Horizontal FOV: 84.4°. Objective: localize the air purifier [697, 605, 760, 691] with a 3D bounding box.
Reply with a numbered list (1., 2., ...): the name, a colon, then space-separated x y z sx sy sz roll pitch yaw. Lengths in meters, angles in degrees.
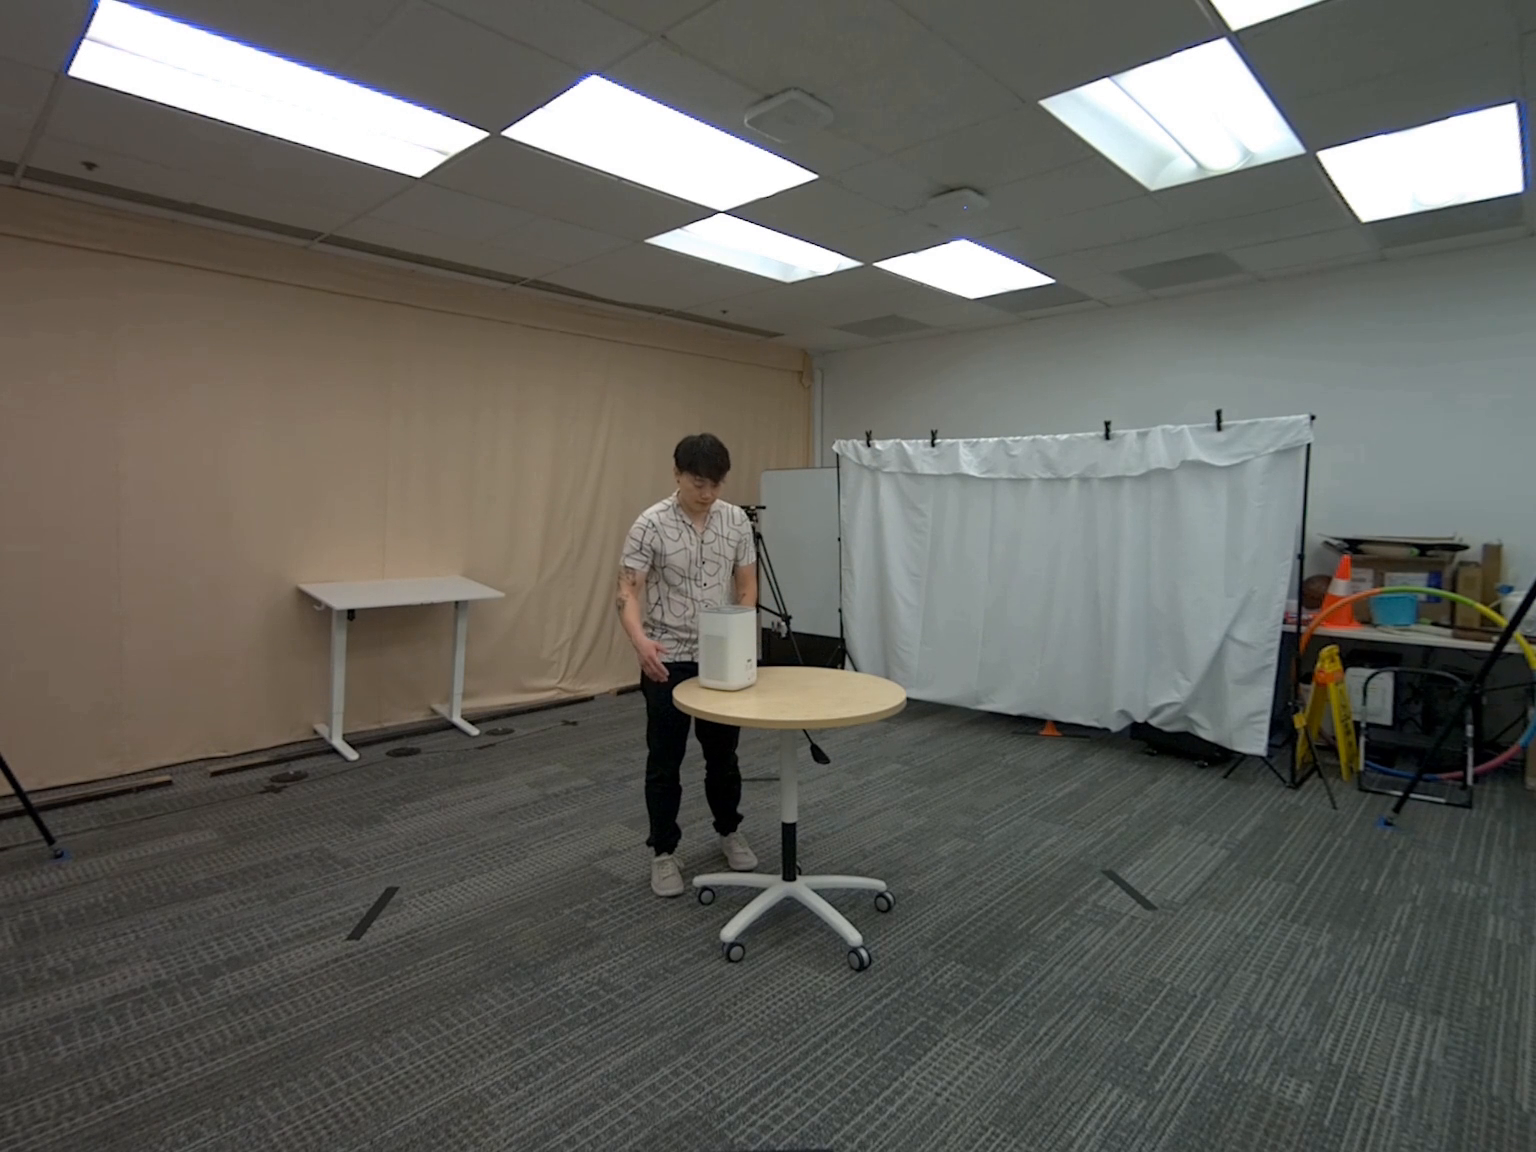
1. air purifier: -0.131 0.239 2.852 0.176 0.265 0.167 0 4 27
